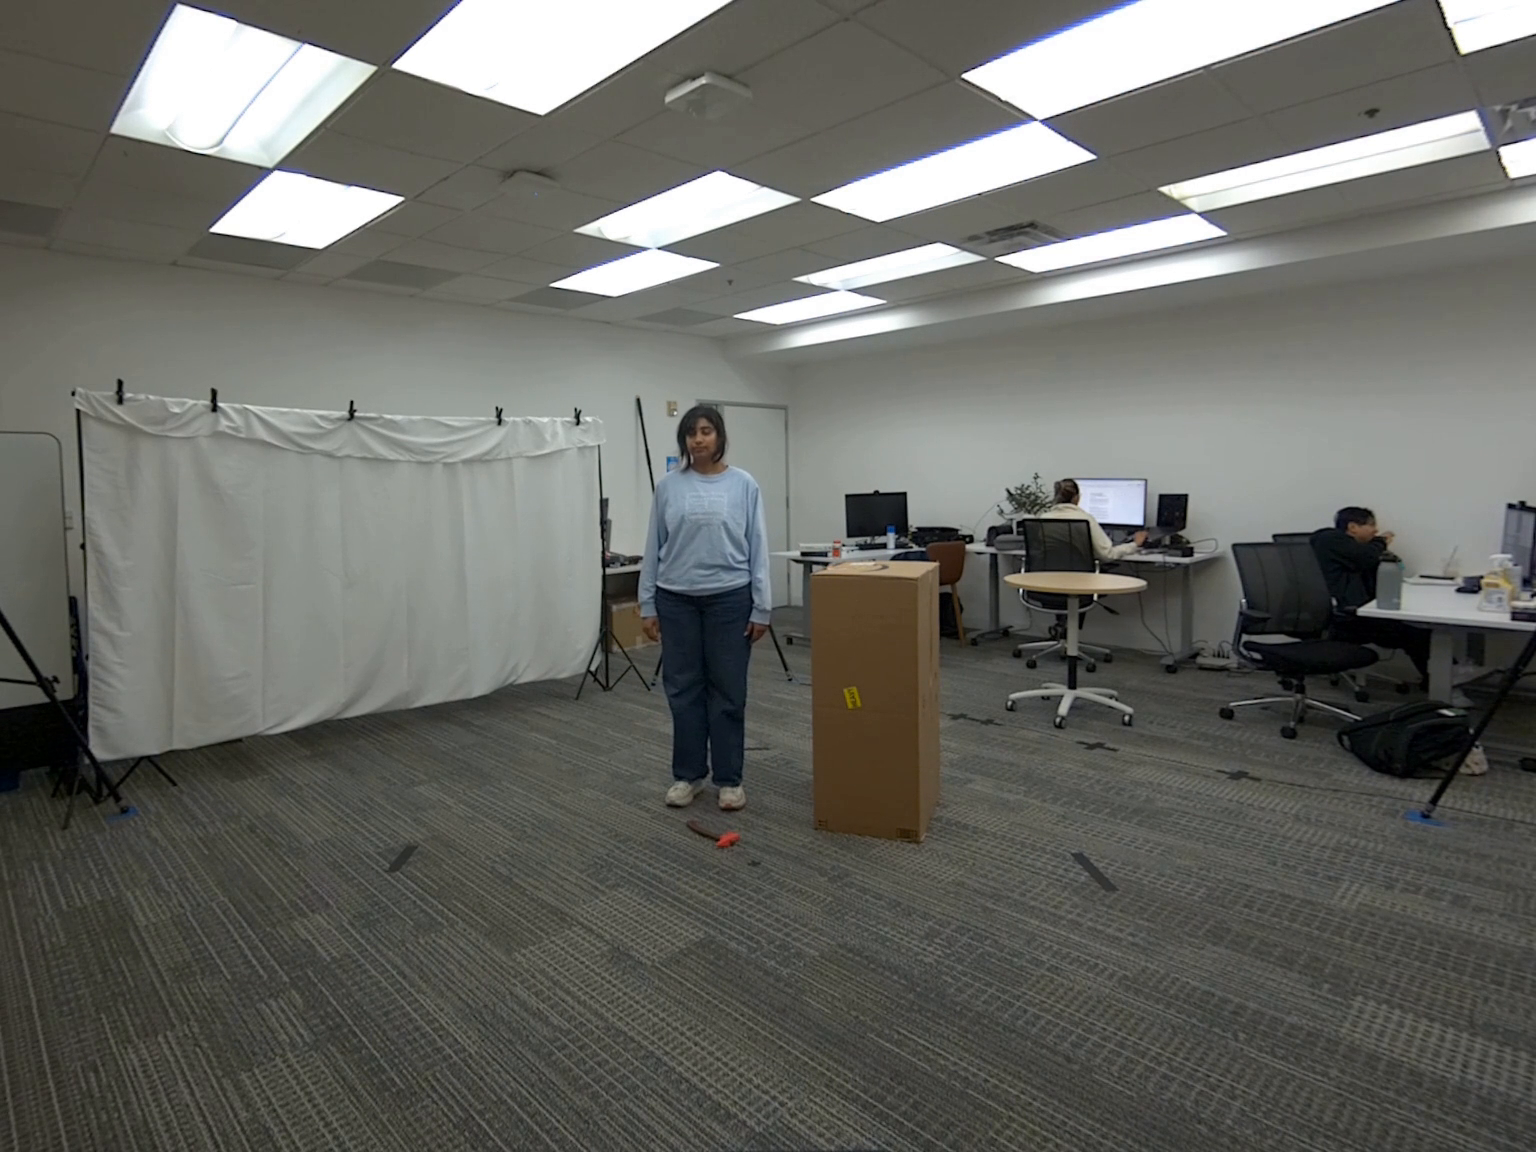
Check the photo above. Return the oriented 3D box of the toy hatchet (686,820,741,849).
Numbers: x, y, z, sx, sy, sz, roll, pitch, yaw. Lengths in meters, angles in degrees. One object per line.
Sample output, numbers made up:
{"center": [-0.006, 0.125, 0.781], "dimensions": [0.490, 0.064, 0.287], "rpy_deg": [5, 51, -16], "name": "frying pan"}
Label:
{"center": [-0.214, 1.013, 3.366], "dimensions": [0.128, 0.029, 0.278], "rpy_deg": [-5, 7, -32], "name": "toy hatchet"}
